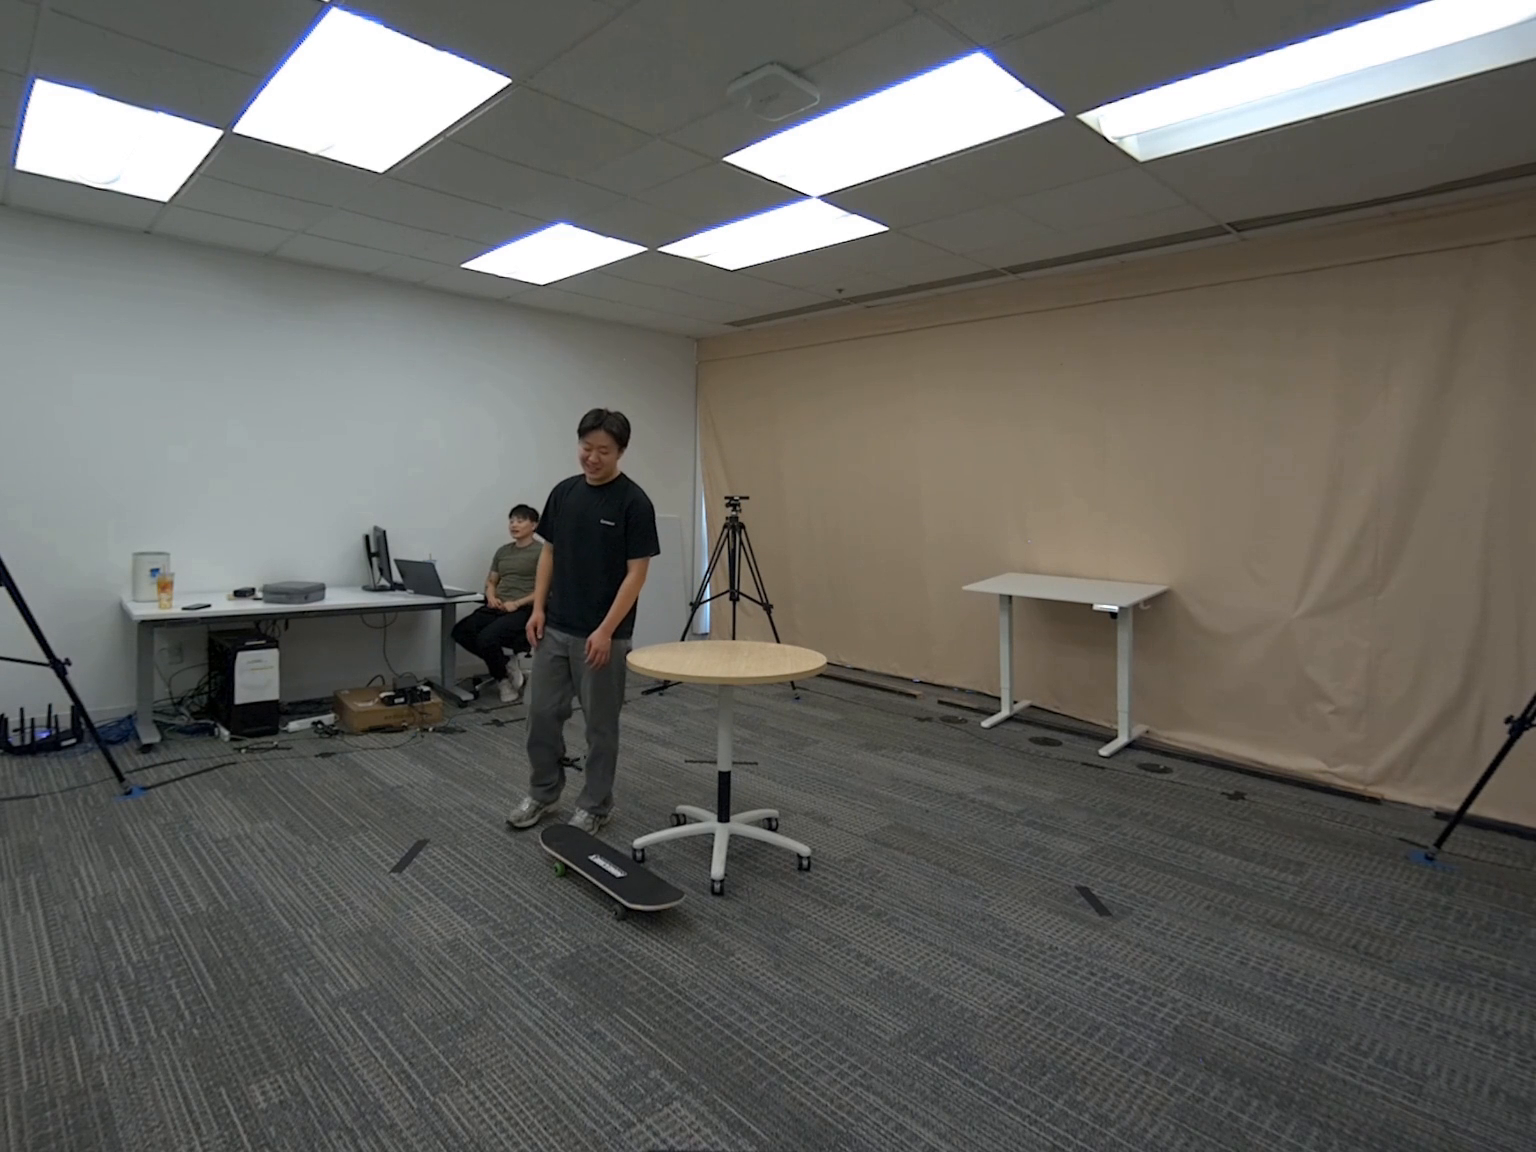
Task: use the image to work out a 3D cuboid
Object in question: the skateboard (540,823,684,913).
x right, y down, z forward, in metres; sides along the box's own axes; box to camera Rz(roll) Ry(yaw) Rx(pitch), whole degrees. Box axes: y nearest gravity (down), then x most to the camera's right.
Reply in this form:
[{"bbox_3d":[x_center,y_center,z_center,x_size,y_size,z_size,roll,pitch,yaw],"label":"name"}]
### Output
[{"bbox_3d":[-0.579,1.057,2.965,0.189,0.110,0.806,-2,6,-42],"label":"skateboard"}]
